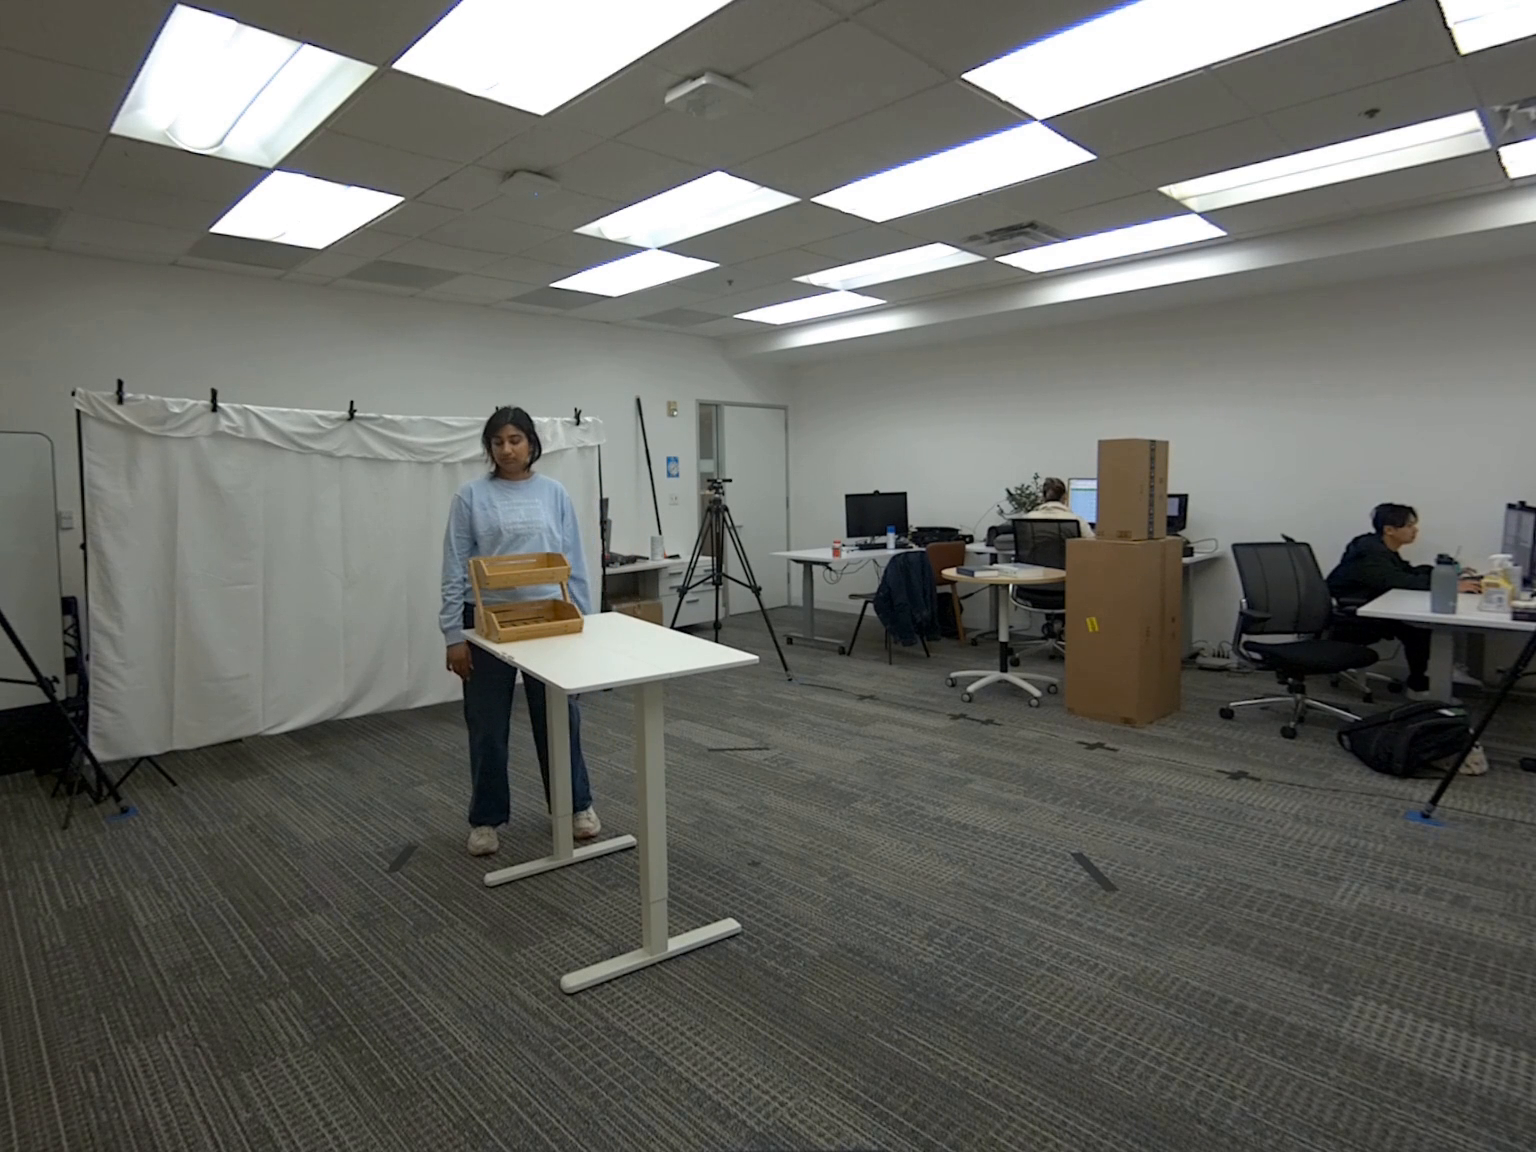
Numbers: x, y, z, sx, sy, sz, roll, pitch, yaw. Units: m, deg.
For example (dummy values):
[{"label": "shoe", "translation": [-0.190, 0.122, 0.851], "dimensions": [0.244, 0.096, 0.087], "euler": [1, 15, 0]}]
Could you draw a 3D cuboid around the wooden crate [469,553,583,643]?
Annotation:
[{"label": "wooden crate", "translation": [-0.841, 0.064, 2.949], "dimensions": [0.316, 0.272, 0.311], "euler": [-5, 6, -34]}]
